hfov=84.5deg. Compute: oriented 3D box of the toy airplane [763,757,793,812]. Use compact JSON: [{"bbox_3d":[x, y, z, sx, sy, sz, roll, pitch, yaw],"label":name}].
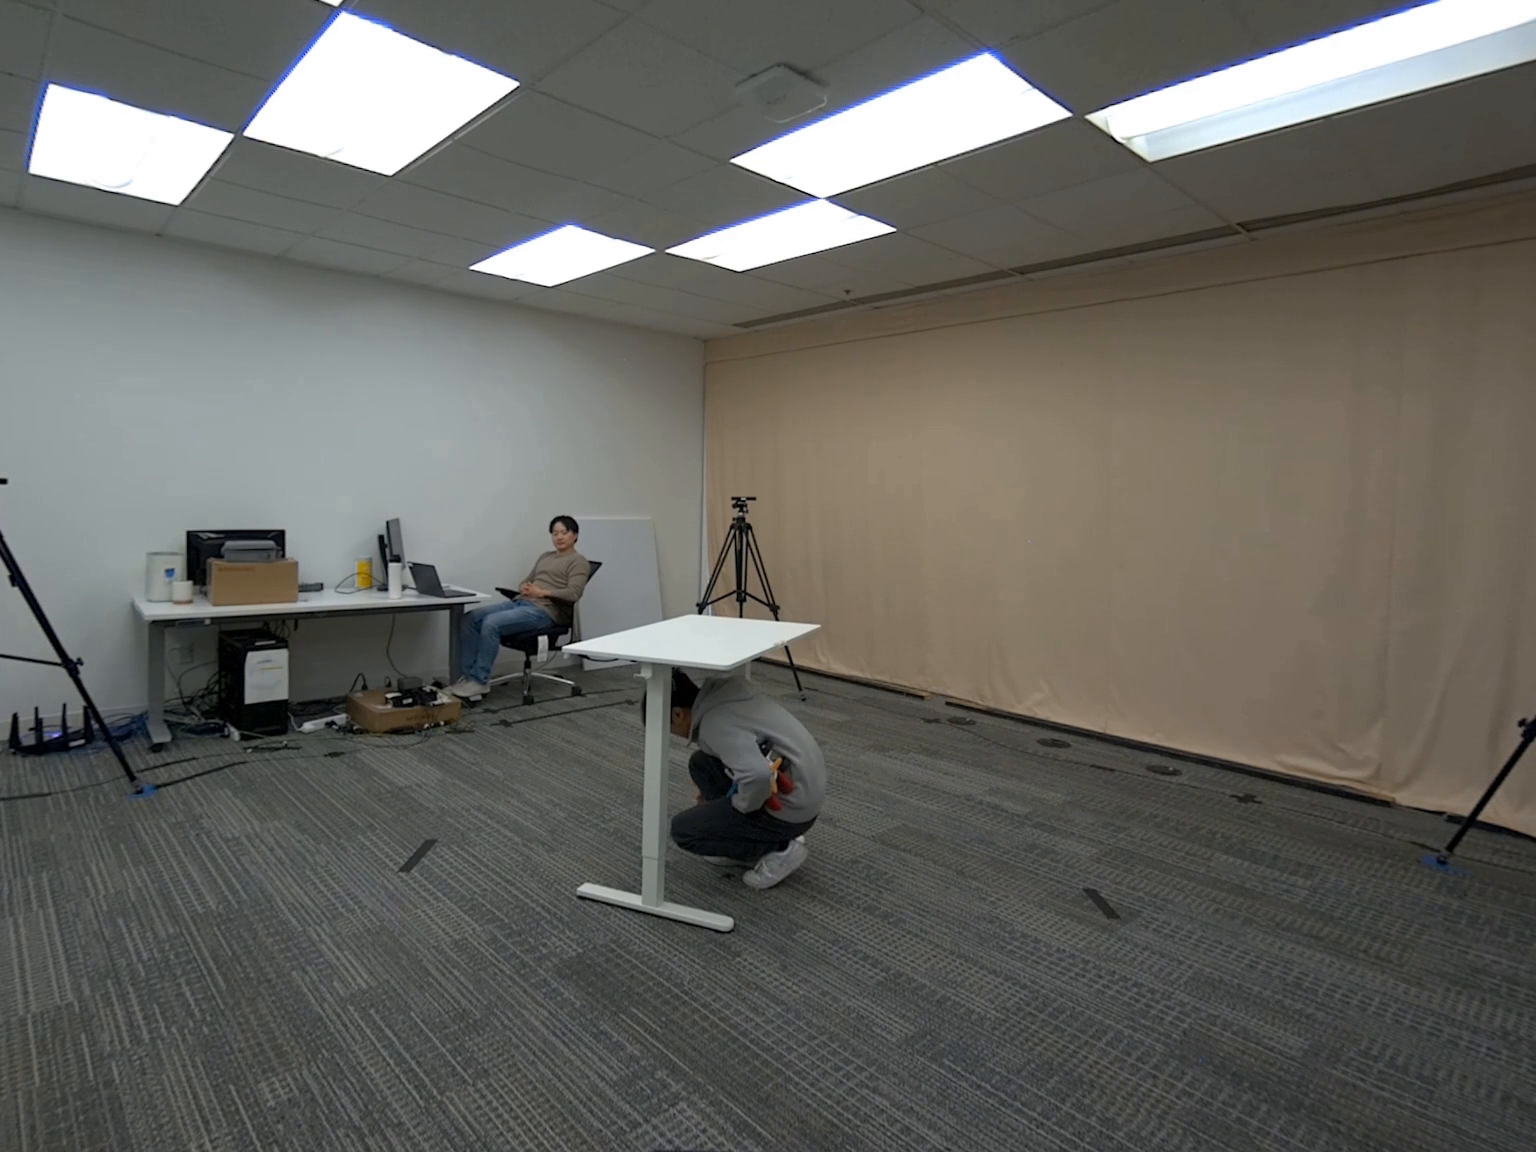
[{"bbox_3d":[-0.022,0.694,2.926,0.155,0.245,0.267,-17,45,-17],"label":"toy airplane"}]
